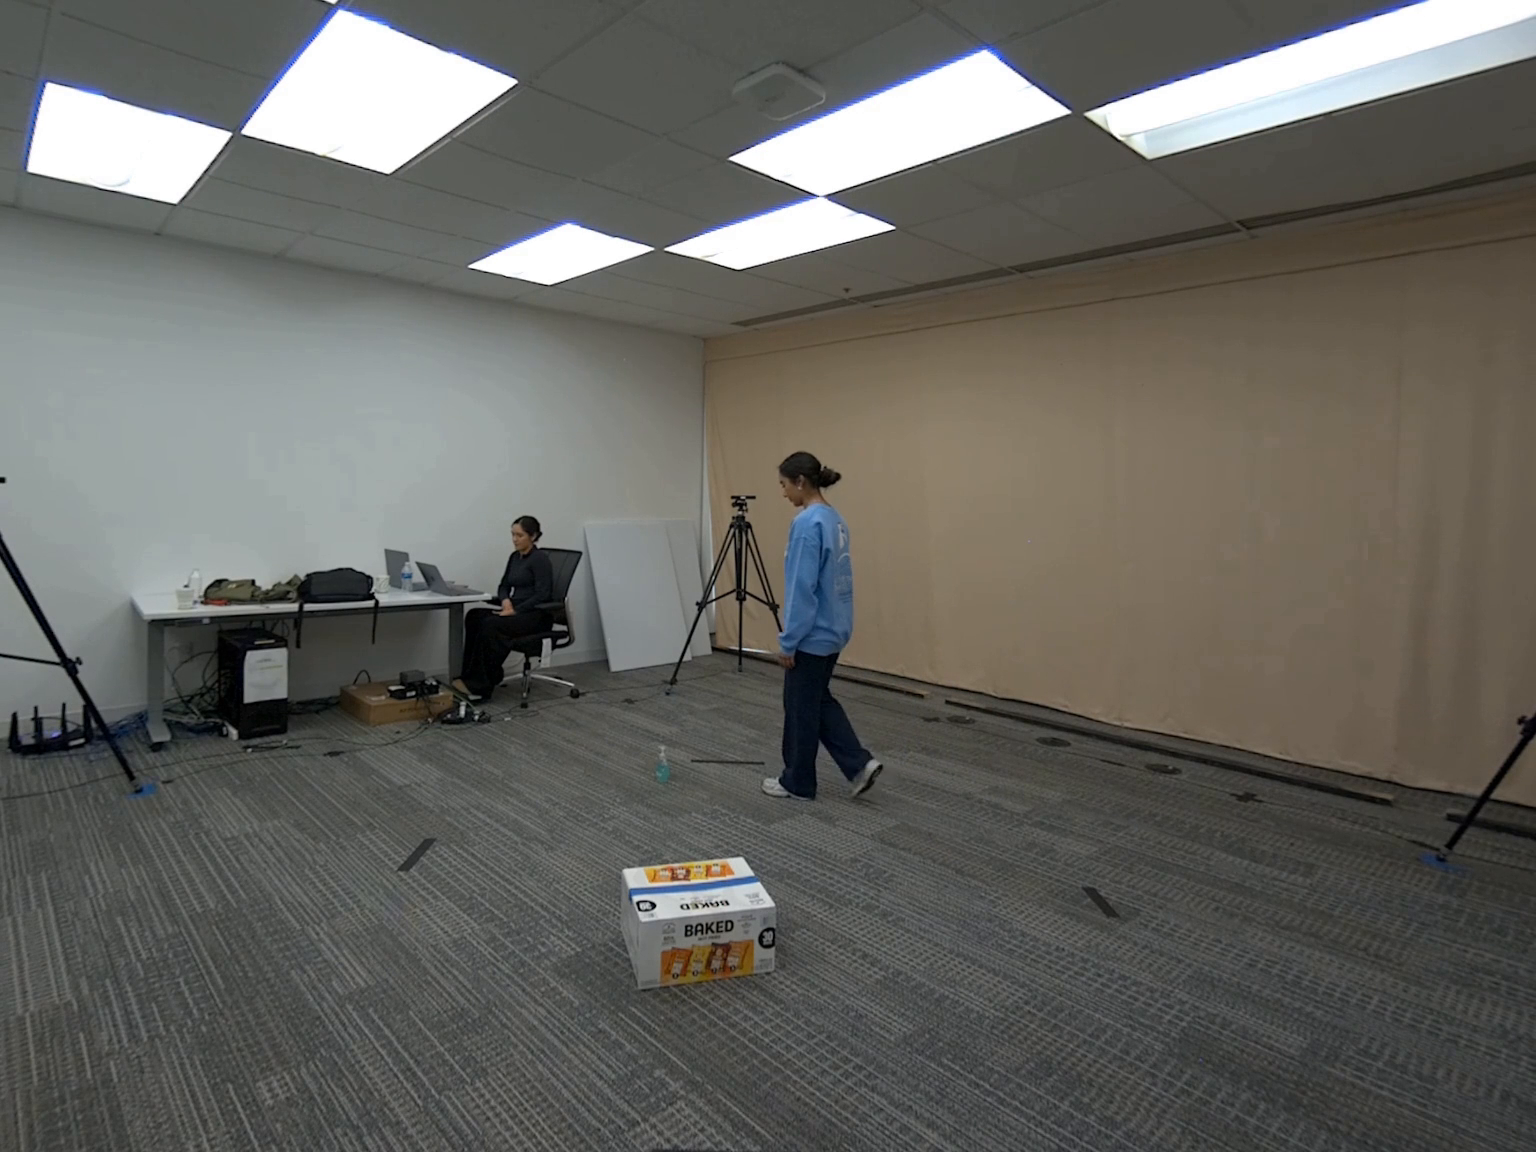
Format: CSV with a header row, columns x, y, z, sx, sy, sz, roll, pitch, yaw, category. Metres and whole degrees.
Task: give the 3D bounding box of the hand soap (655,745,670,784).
x,y,z,sx,sy,sz,roll,pitch,yaw,category
-0.520,0.915,4.121,0.087,0.168,0.042,4,2,44,hand soap
